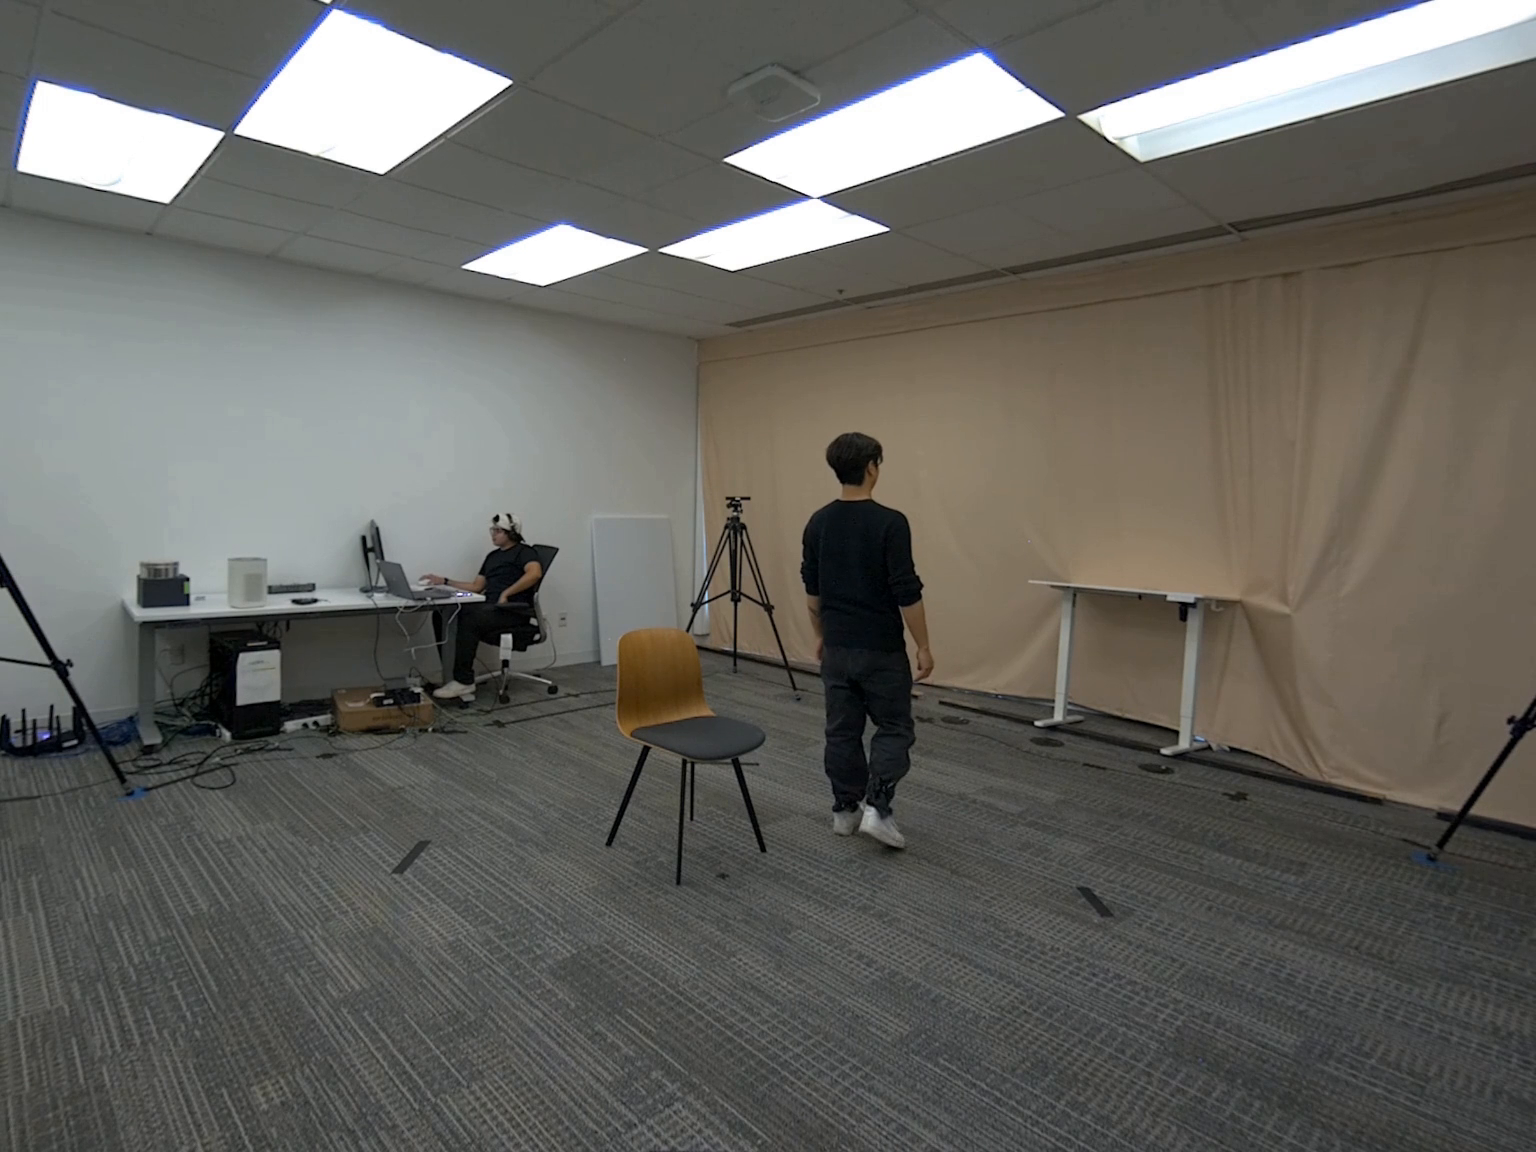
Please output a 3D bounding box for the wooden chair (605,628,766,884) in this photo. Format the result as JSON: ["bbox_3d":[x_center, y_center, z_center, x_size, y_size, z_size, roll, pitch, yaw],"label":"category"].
[{"bbox_3d":[-0.315,0.660,3.296,0.467,0.877,0.535,-1,0,-44],"label":"wooden chair"}]
